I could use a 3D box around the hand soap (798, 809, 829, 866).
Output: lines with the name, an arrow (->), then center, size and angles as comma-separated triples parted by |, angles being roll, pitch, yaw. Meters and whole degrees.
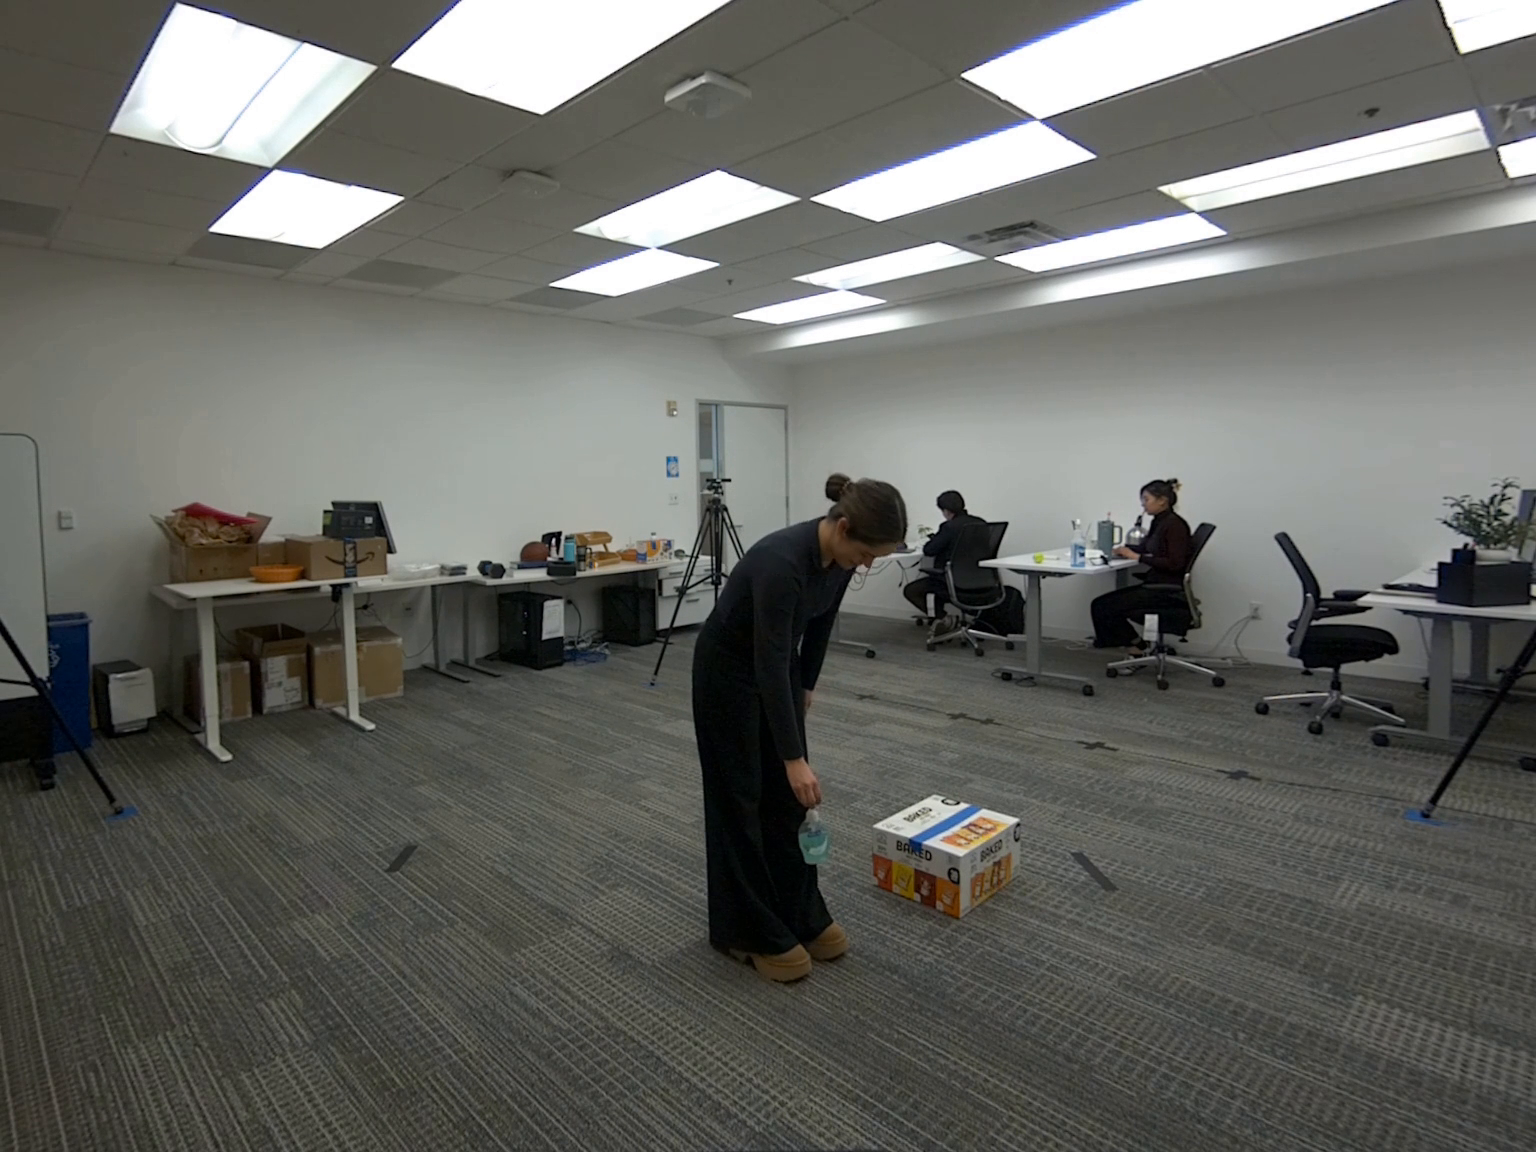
hand soap -> 0.113, 0.650, 2.252 | 0.085, 0.168, 0.043 | -11, 0, 6
